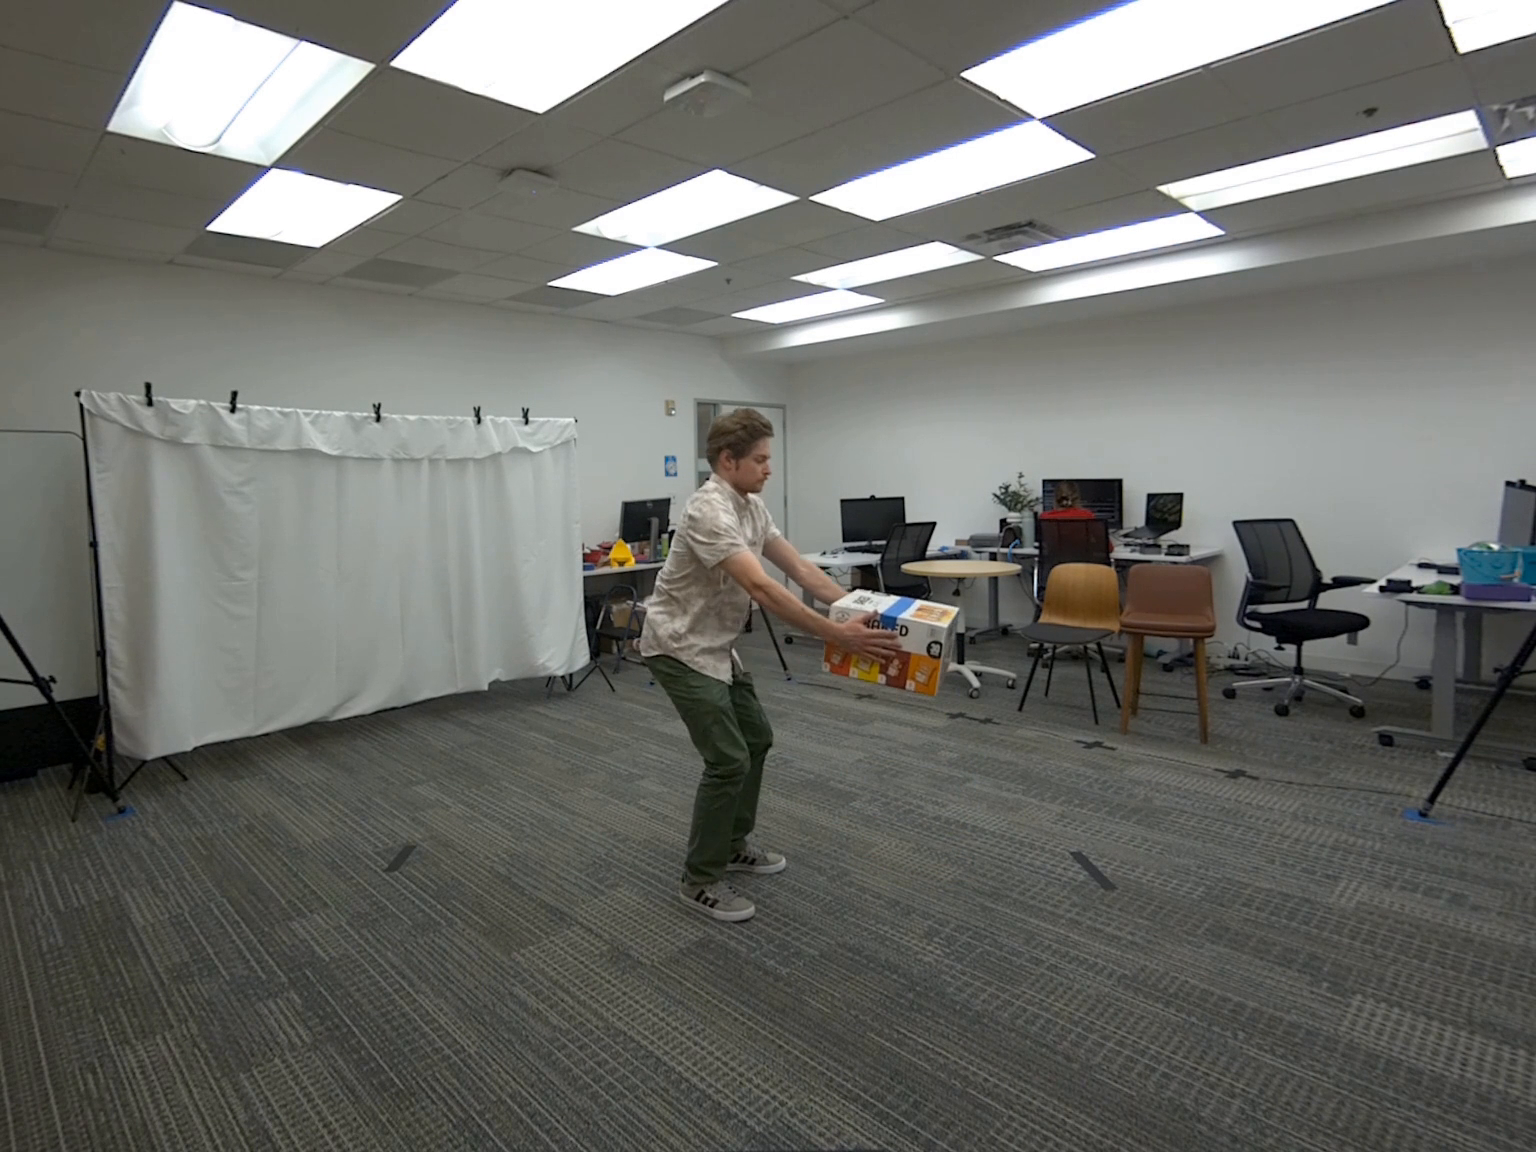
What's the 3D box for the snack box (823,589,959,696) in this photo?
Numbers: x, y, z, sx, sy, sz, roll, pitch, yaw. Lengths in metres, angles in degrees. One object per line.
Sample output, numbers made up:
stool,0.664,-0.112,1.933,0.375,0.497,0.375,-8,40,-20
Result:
snack box,0.391,0.196,2.654,0.347,0.204,0.399,10,9,18
